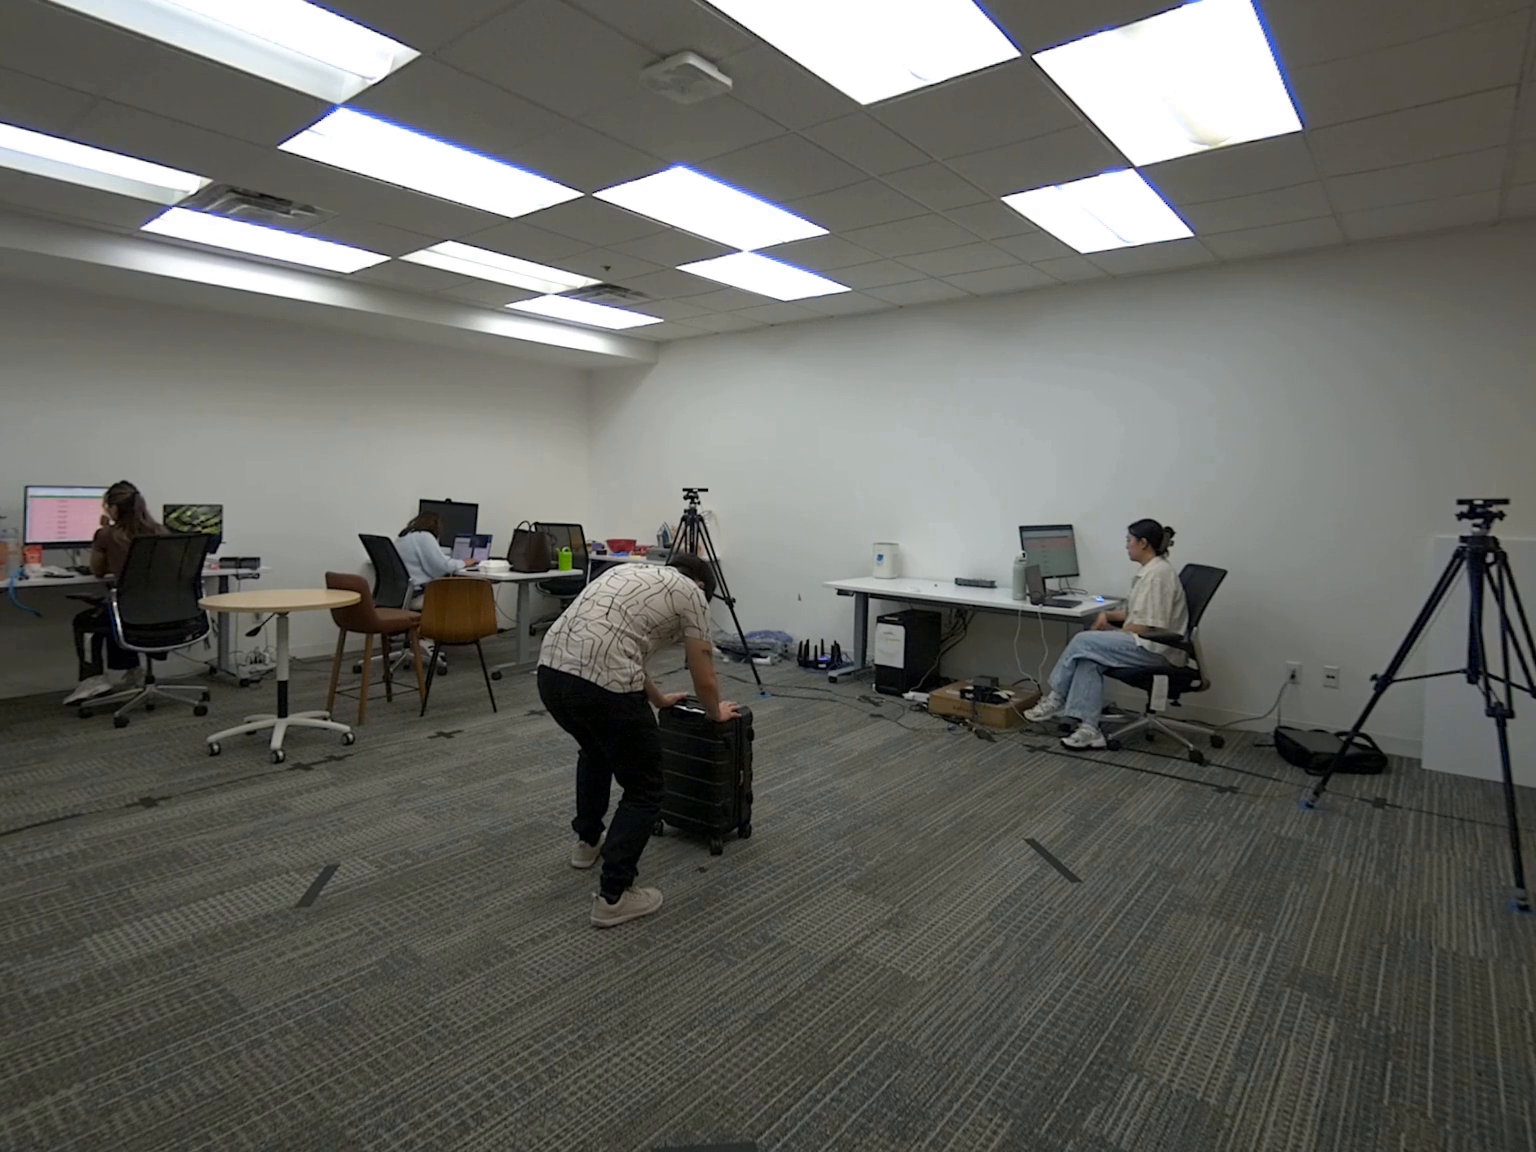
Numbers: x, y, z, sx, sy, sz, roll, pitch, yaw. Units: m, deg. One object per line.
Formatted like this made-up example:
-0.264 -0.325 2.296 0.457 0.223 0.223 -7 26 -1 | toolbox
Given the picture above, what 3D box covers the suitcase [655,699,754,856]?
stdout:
-0.271 0.762 3.427 0.388 0.548 0.241 4 2 37 | suitcase
